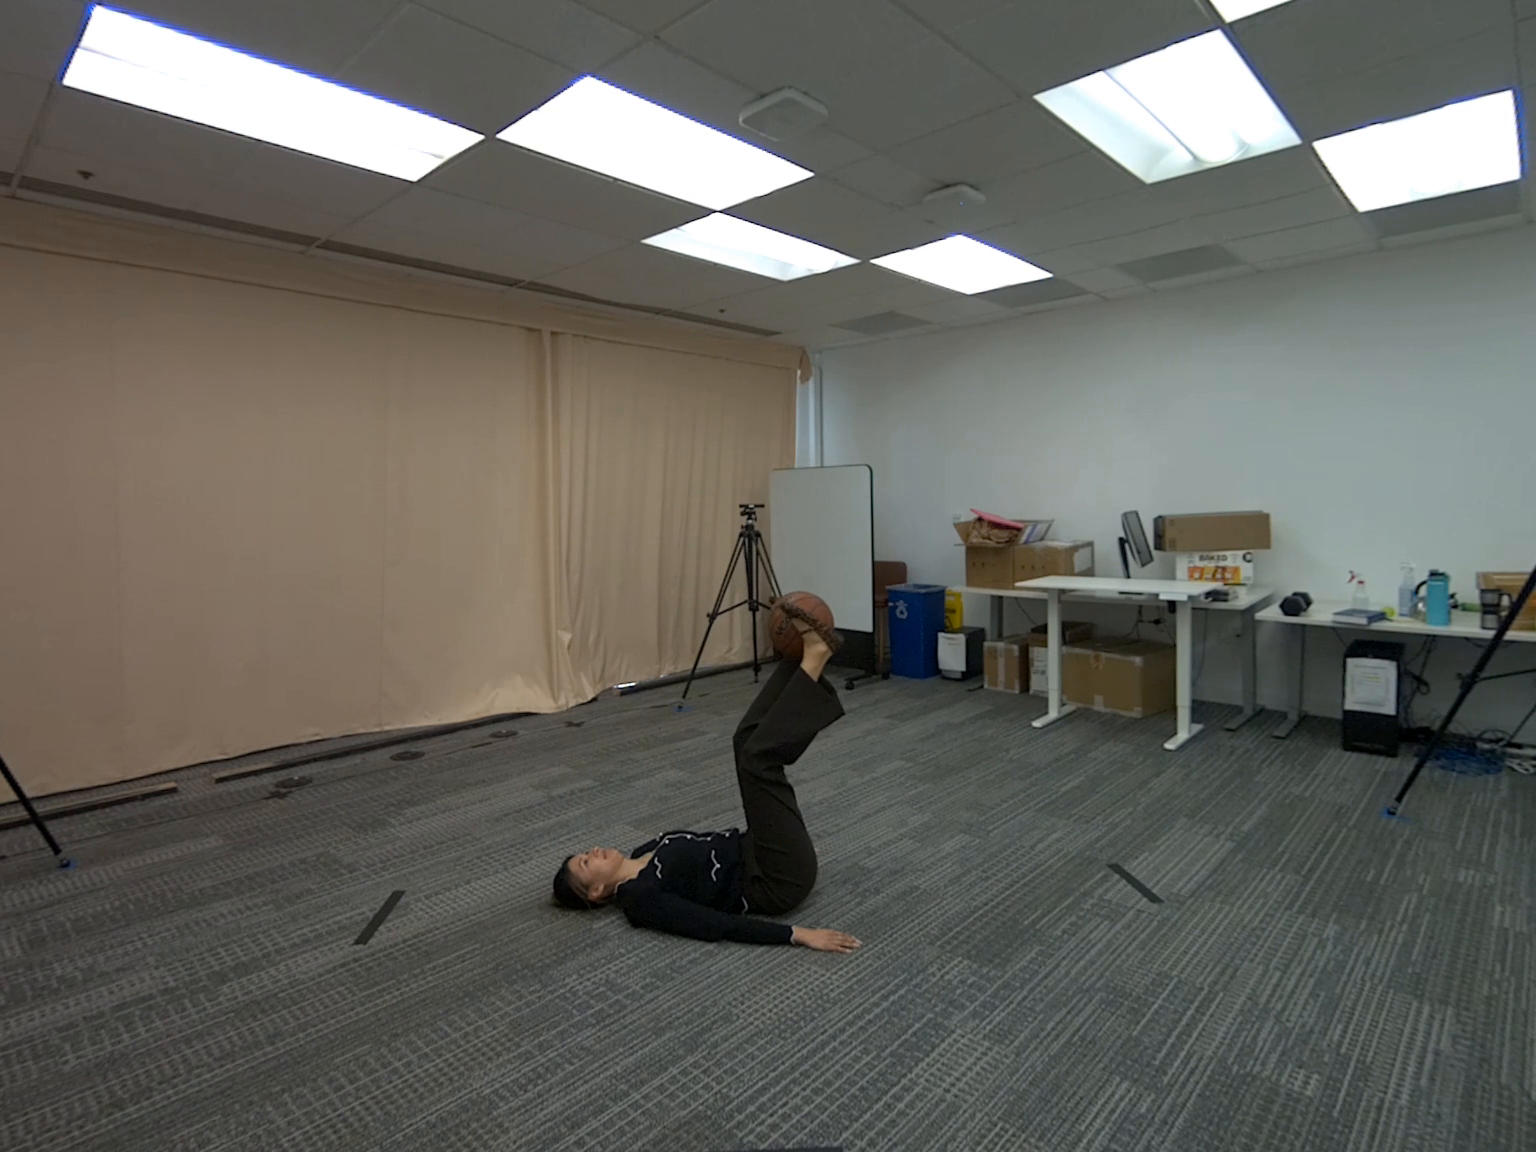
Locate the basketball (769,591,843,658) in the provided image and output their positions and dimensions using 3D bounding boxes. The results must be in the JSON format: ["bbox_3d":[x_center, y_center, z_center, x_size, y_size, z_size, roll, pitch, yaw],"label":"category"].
[{"bbox_3d":[0.117,0.172,2.974,0.236,0.236,0.236,0,1,-2],"label":"basketball"}]
